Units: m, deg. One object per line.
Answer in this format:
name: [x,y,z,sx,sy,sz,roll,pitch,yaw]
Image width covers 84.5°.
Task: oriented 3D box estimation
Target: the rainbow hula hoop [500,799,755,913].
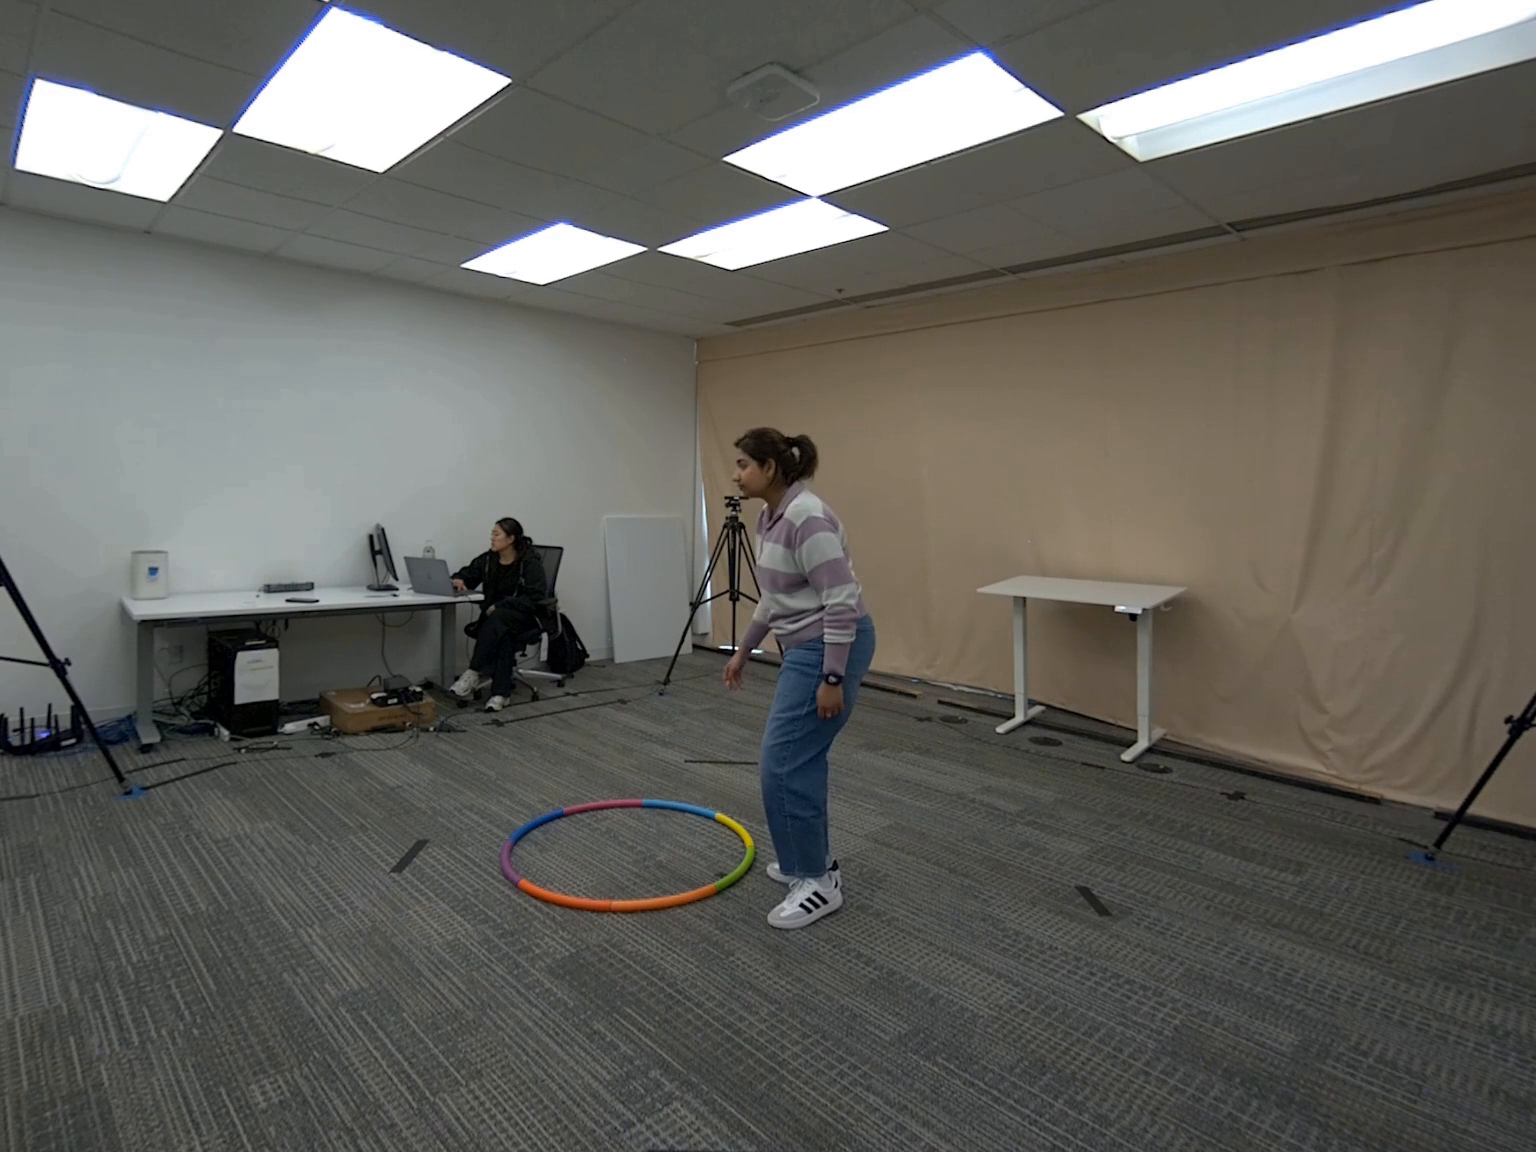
rainbow hula hoop: [-0.542,1.049,3.294,0.978,0.035,0.982,1,5,-1]
